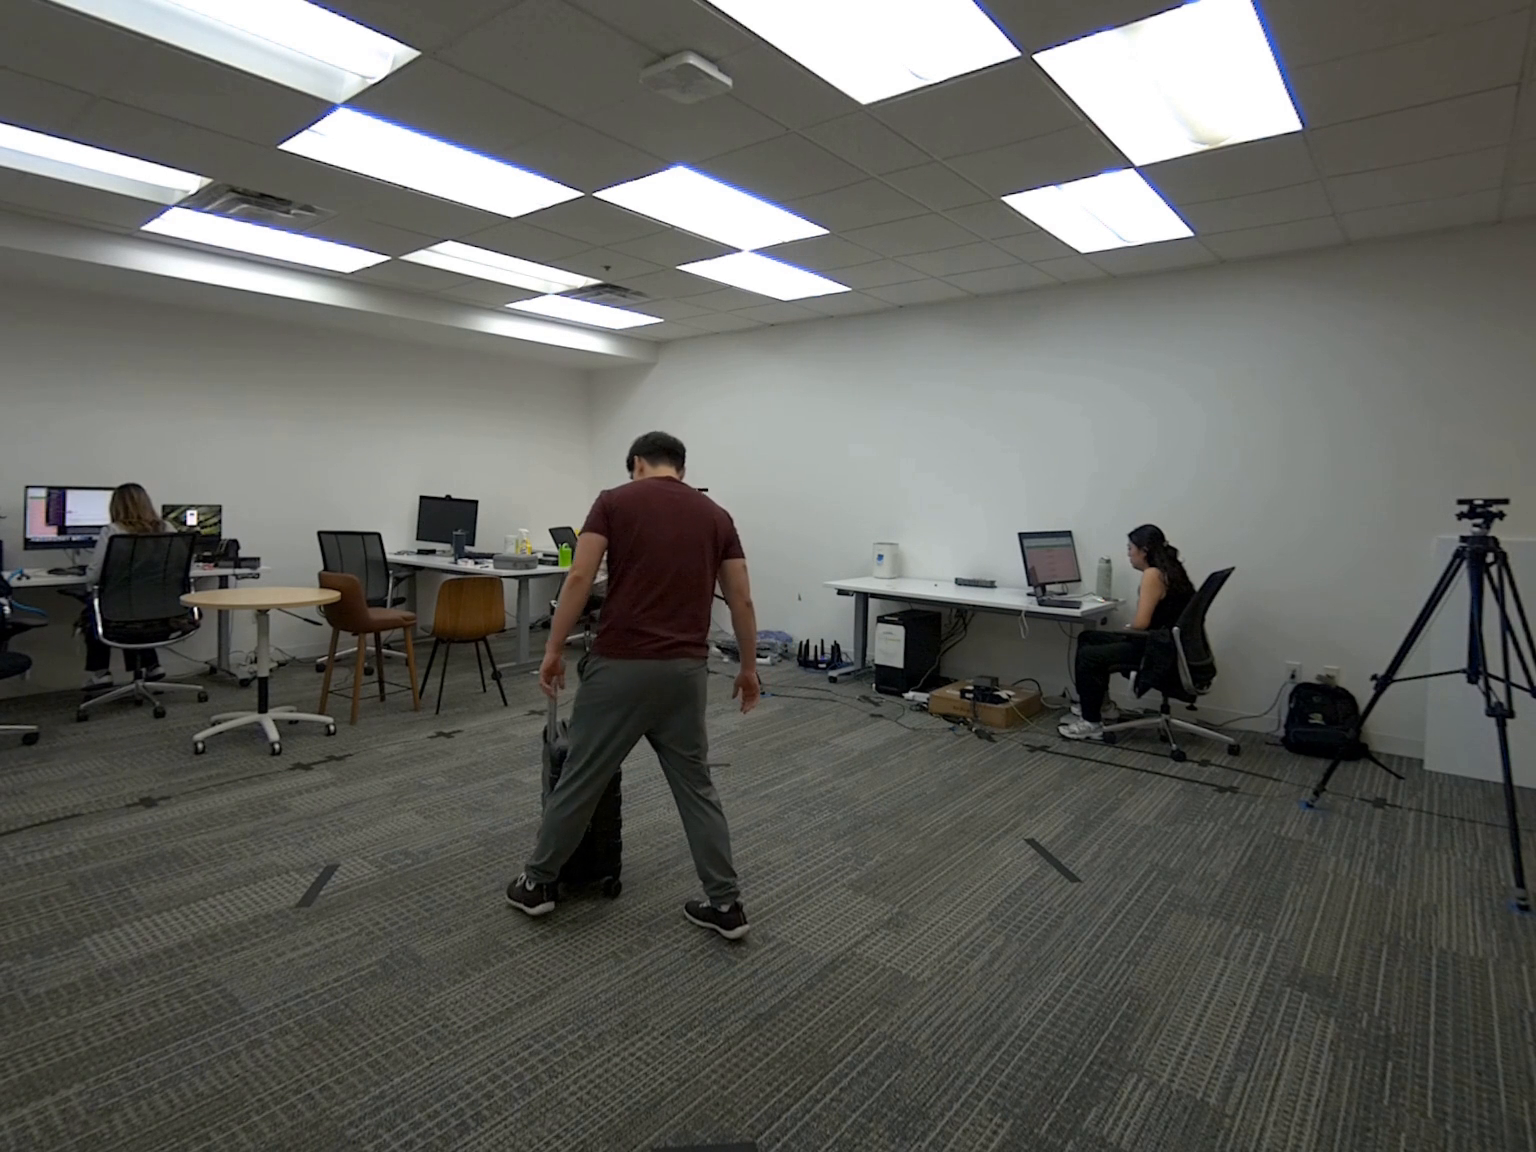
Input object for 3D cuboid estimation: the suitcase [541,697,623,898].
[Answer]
[{"bbox_3d":[-0.675,0.604,3.004,0.253,0.977,0.391,0,2,-17],"label":"suitcase"}]
